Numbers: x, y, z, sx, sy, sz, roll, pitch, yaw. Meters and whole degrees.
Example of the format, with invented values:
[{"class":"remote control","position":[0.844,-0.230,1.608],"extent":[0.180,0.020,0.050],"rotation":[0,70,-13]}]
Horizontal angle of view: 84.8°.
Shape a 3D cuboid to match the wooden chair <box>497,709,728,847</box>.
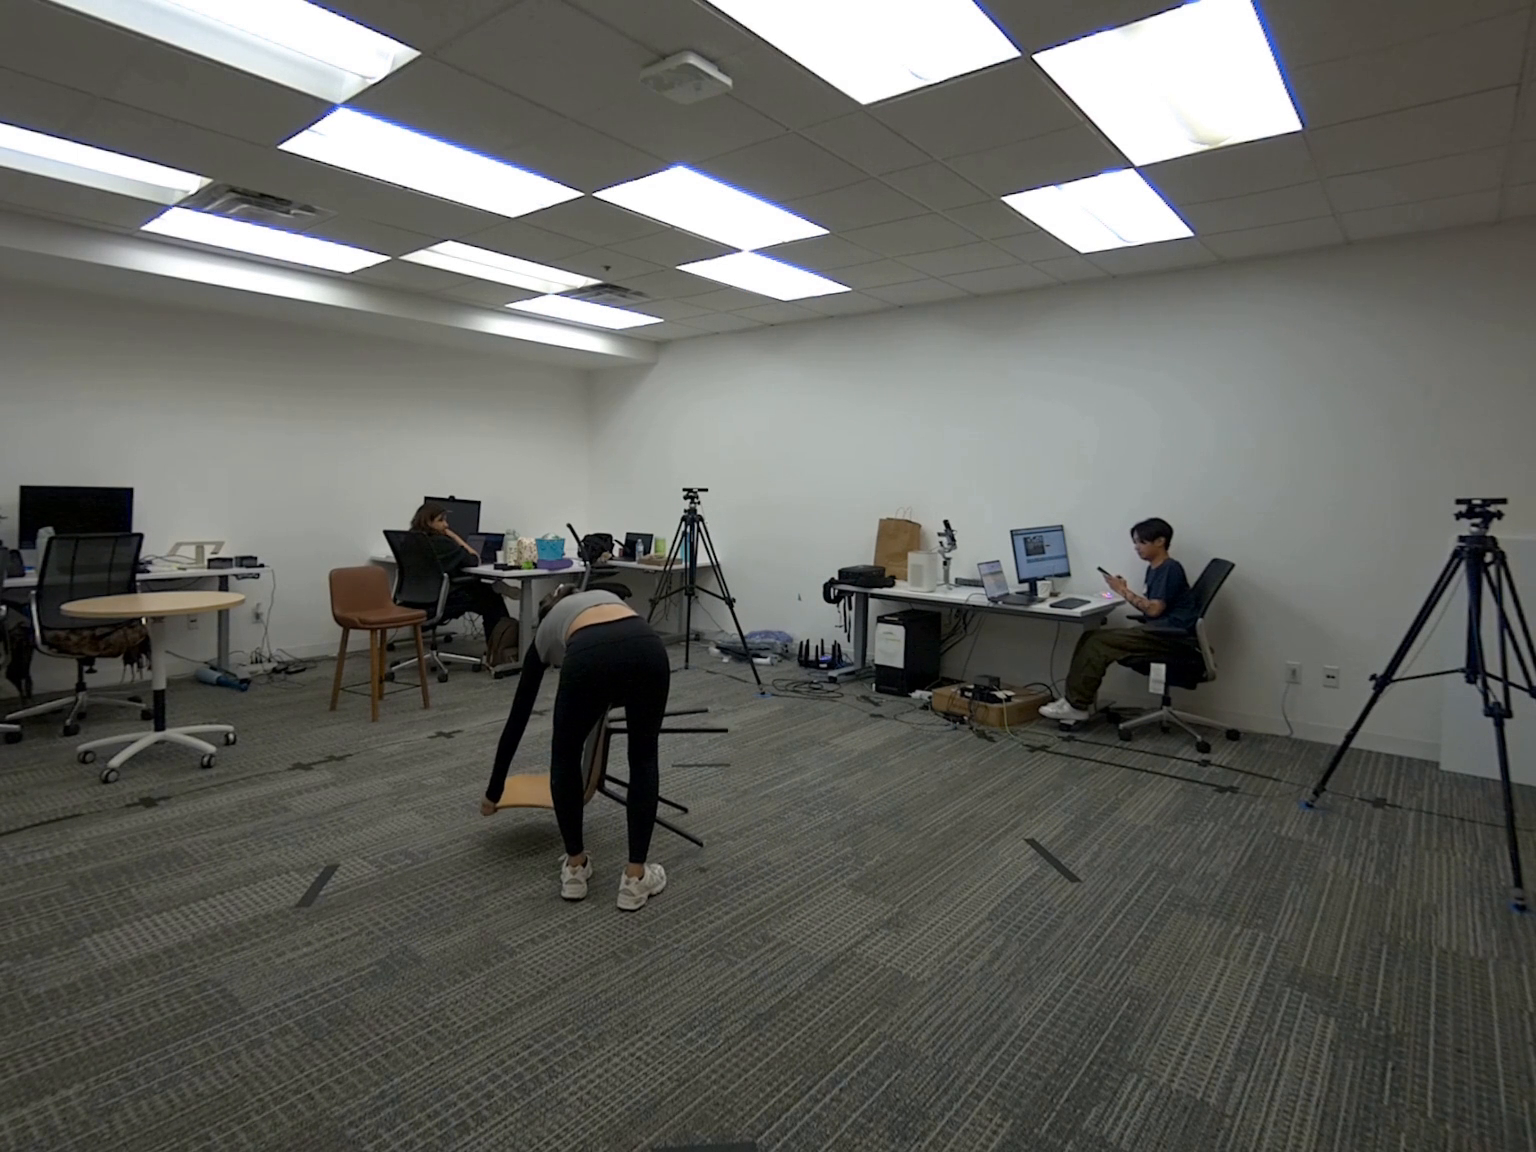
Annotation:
[{"class":"wooden chair","position":[-0.666,0.706,3.384],"extent":[0.867,0.524,0.483],"rotation":[7,-2,-10]}]
